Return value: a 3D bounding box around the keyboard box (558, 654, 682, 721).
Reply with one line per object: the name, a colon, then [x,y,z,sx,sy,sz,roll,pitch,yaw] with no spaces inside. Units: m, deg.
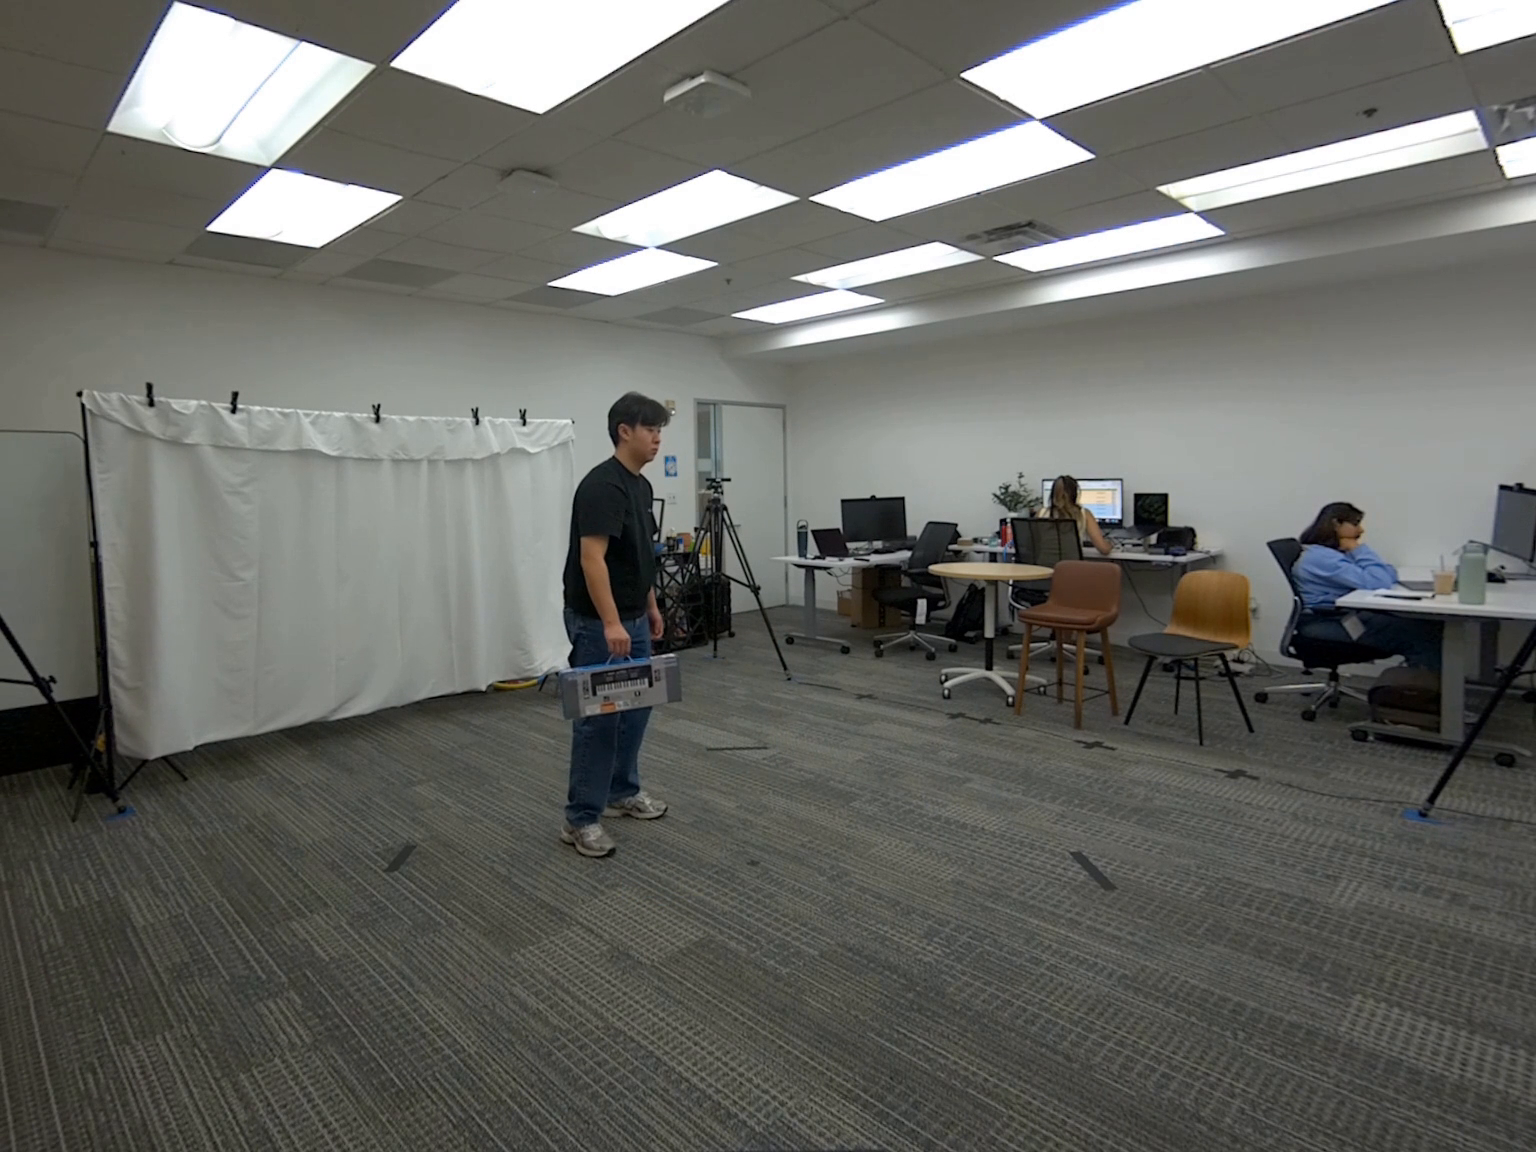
keyboard box: [-0.534,0.407,3.129,0.430,0.175,0.060,-7,5,-19]
